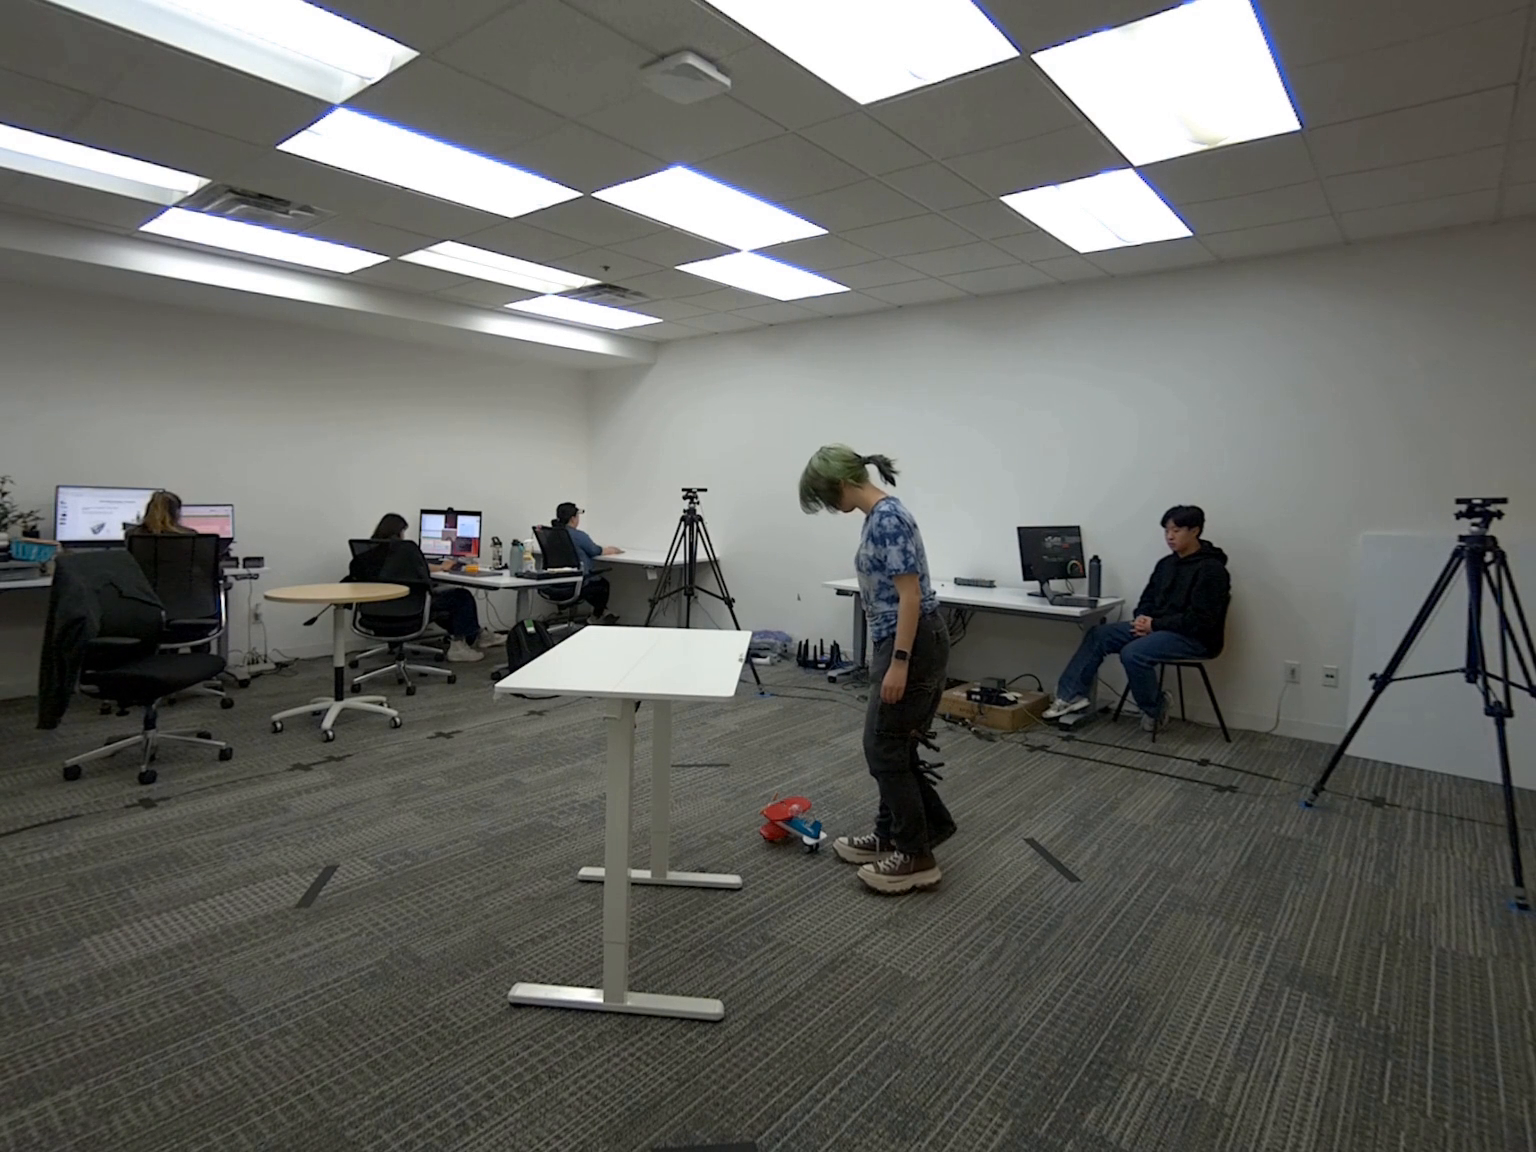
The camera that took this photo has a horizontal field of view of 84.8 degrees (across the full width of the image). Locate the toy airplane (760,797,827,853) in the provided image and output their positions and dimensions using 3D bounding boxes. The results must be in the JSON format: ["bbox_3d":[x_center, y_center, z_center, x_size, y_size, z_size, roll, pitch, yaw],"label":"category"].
[{"bbox_3d":[0.102,0.976,3.357,0.263,0.156,0.248,0,4,13],"label":"toy airplane"}]
